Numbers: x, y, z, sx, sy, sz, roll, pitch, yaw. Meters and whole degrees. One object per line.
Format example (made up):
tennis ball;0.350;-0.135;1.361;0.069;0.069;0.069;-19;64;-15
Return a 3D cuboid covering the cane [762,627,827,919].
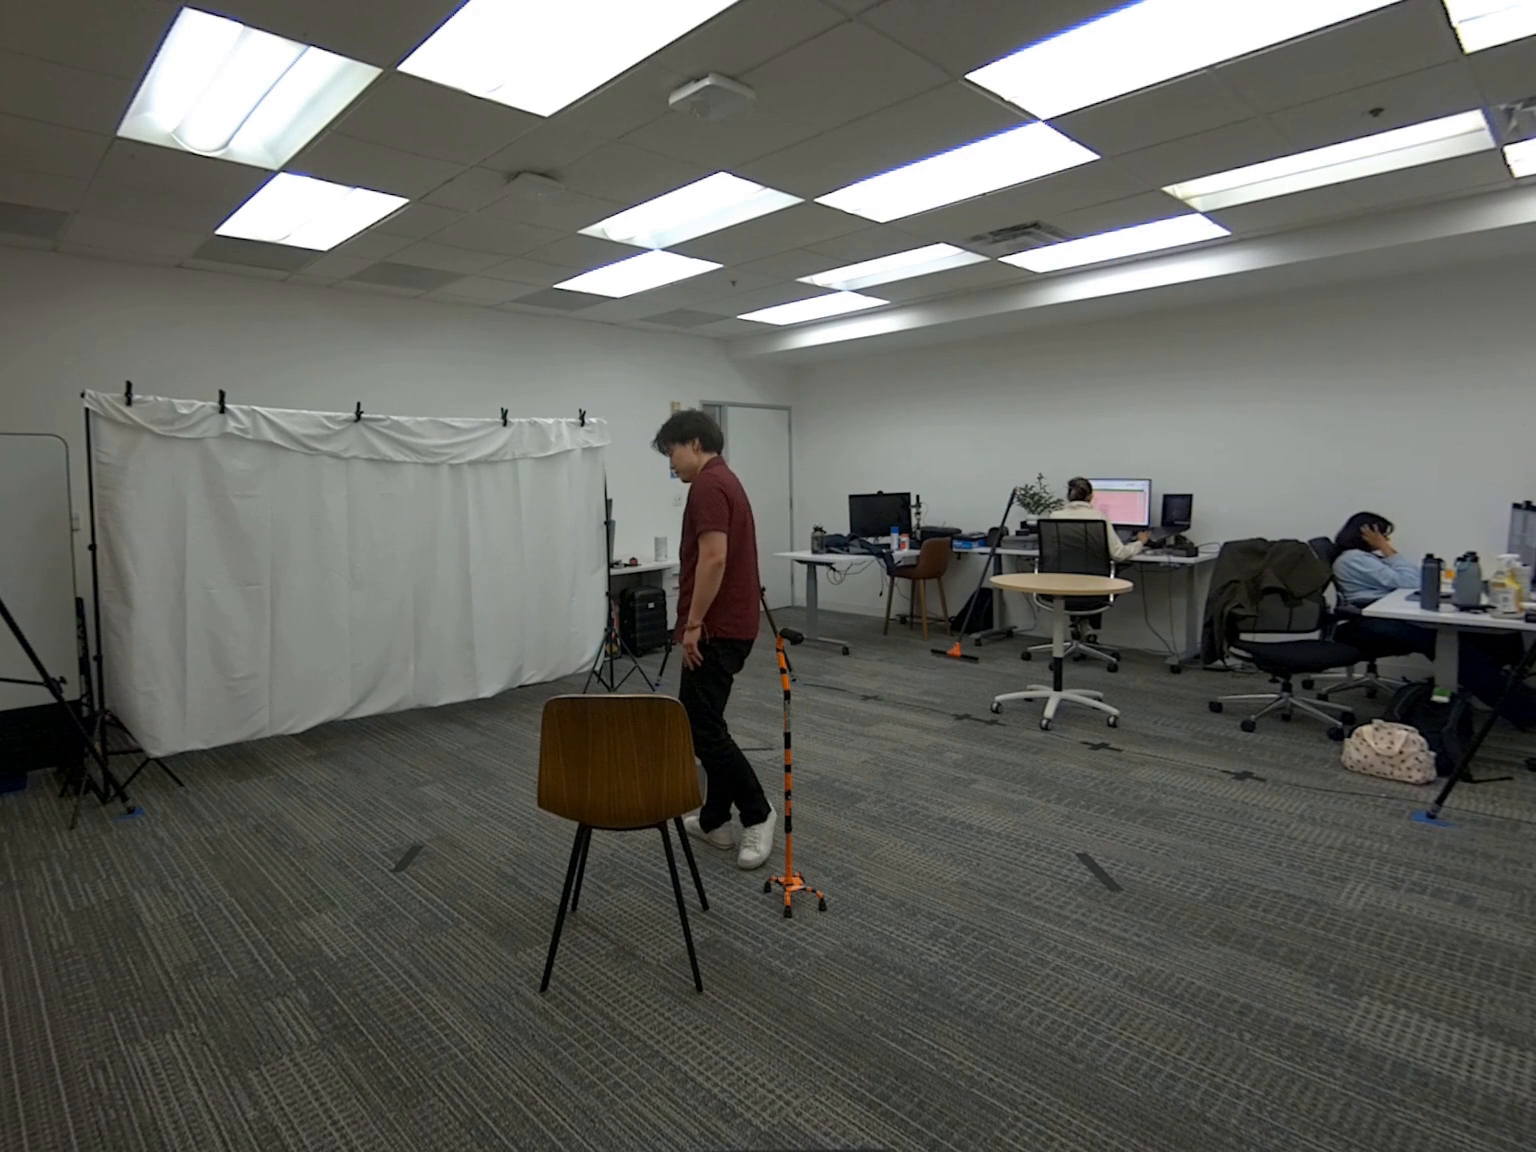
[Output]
cane;0.082;0.623;2.802;0.148;0.904;0.211;-3;4;-25
